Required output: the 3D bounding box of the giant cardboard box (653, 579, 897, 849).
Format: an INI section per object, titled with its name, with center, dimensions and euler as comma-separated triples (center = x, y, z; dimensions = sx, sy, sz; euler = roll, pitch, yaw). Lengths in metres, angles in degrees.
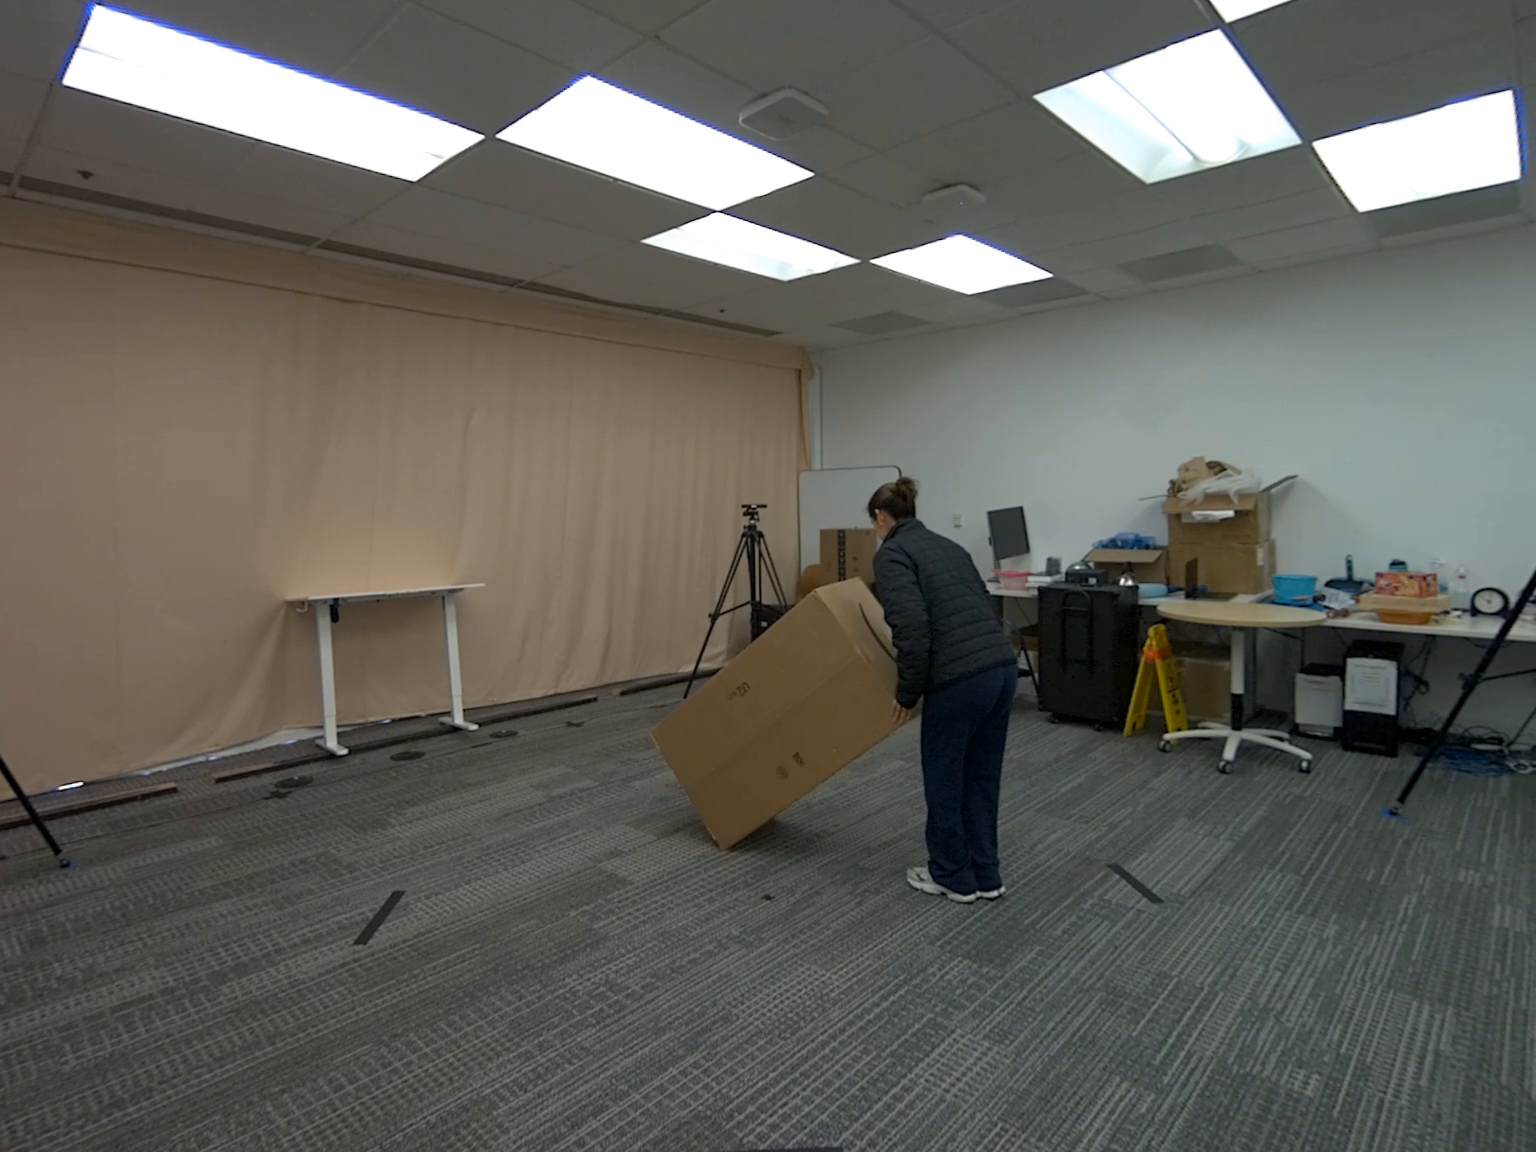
[giant cardboard box]
center = 0.109, 0.557, 3.416
dimensions = 1.036, 0.595, 0.435
euler = -42, -18, 27
